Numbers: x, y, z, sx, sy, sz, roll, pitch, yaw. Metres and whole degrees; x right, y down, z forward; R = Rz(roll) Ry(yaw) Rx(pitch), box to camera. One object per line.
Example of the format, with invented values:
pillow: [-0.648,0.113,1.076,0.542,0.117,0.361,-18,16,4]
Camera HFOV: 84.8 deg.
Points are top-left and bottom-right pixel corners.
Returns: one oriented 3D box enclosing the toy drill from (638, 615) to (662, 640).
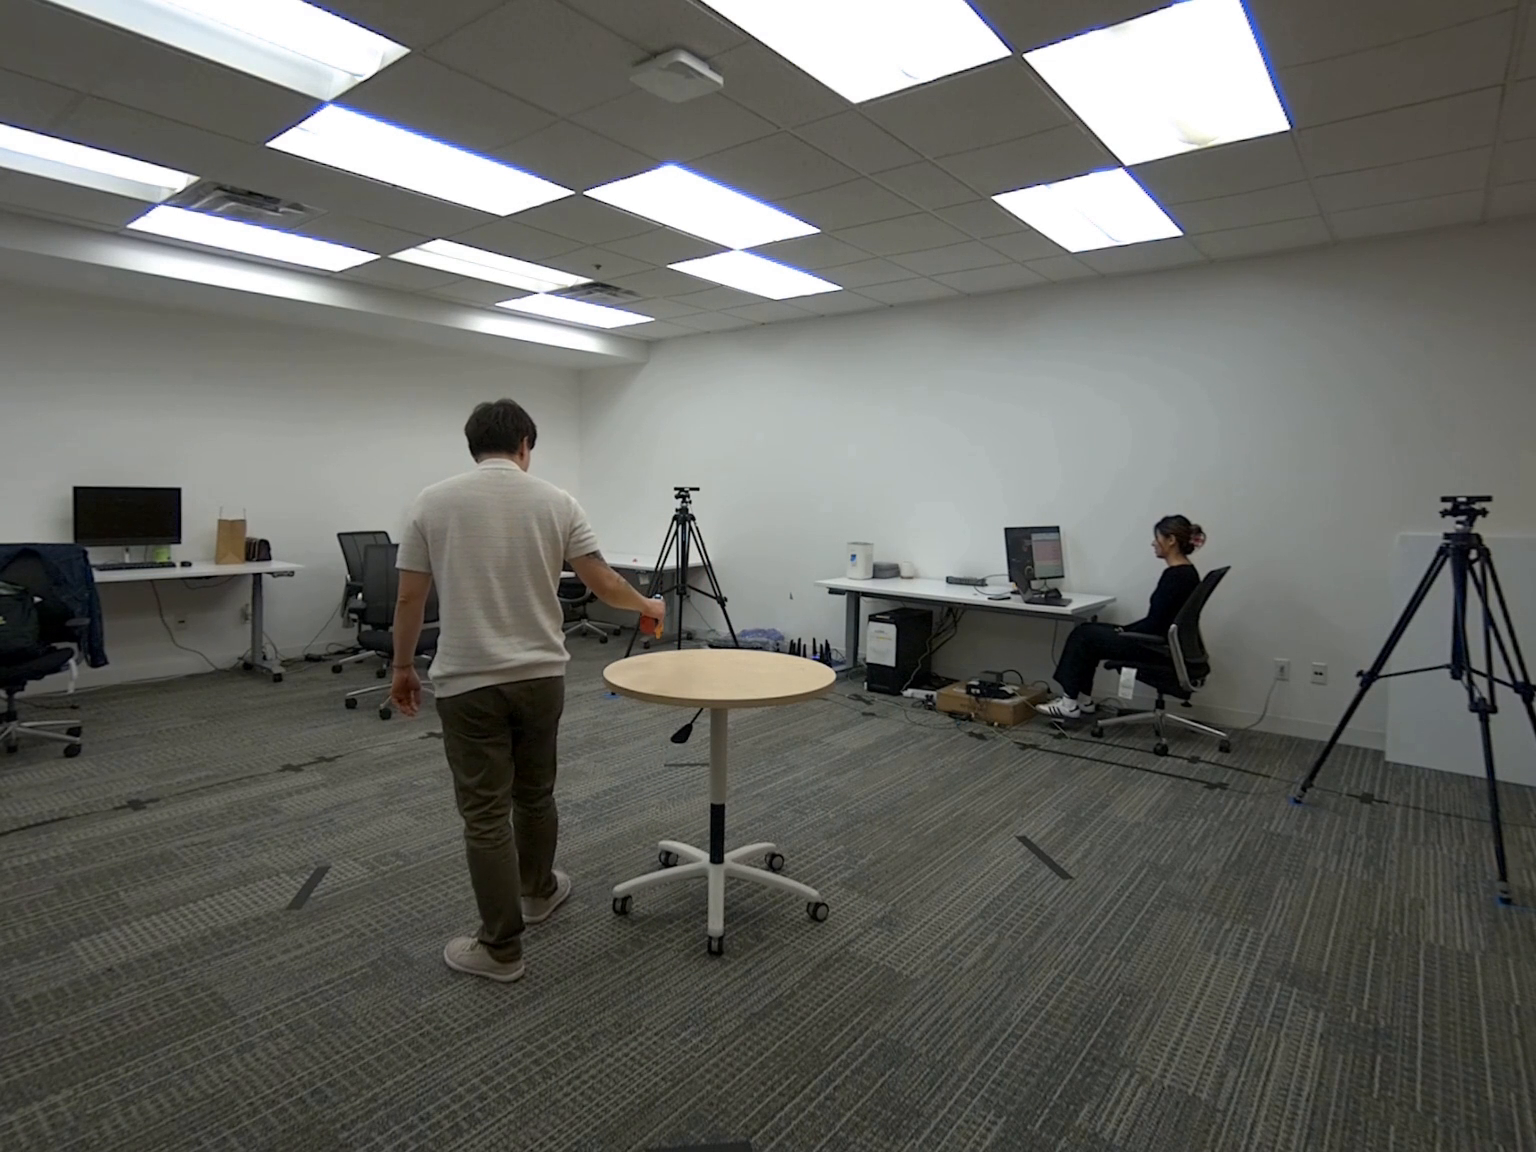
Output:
toy drill: [-0.388,0.157,2.862,0.062,0.166,0.147,8,27,7]
